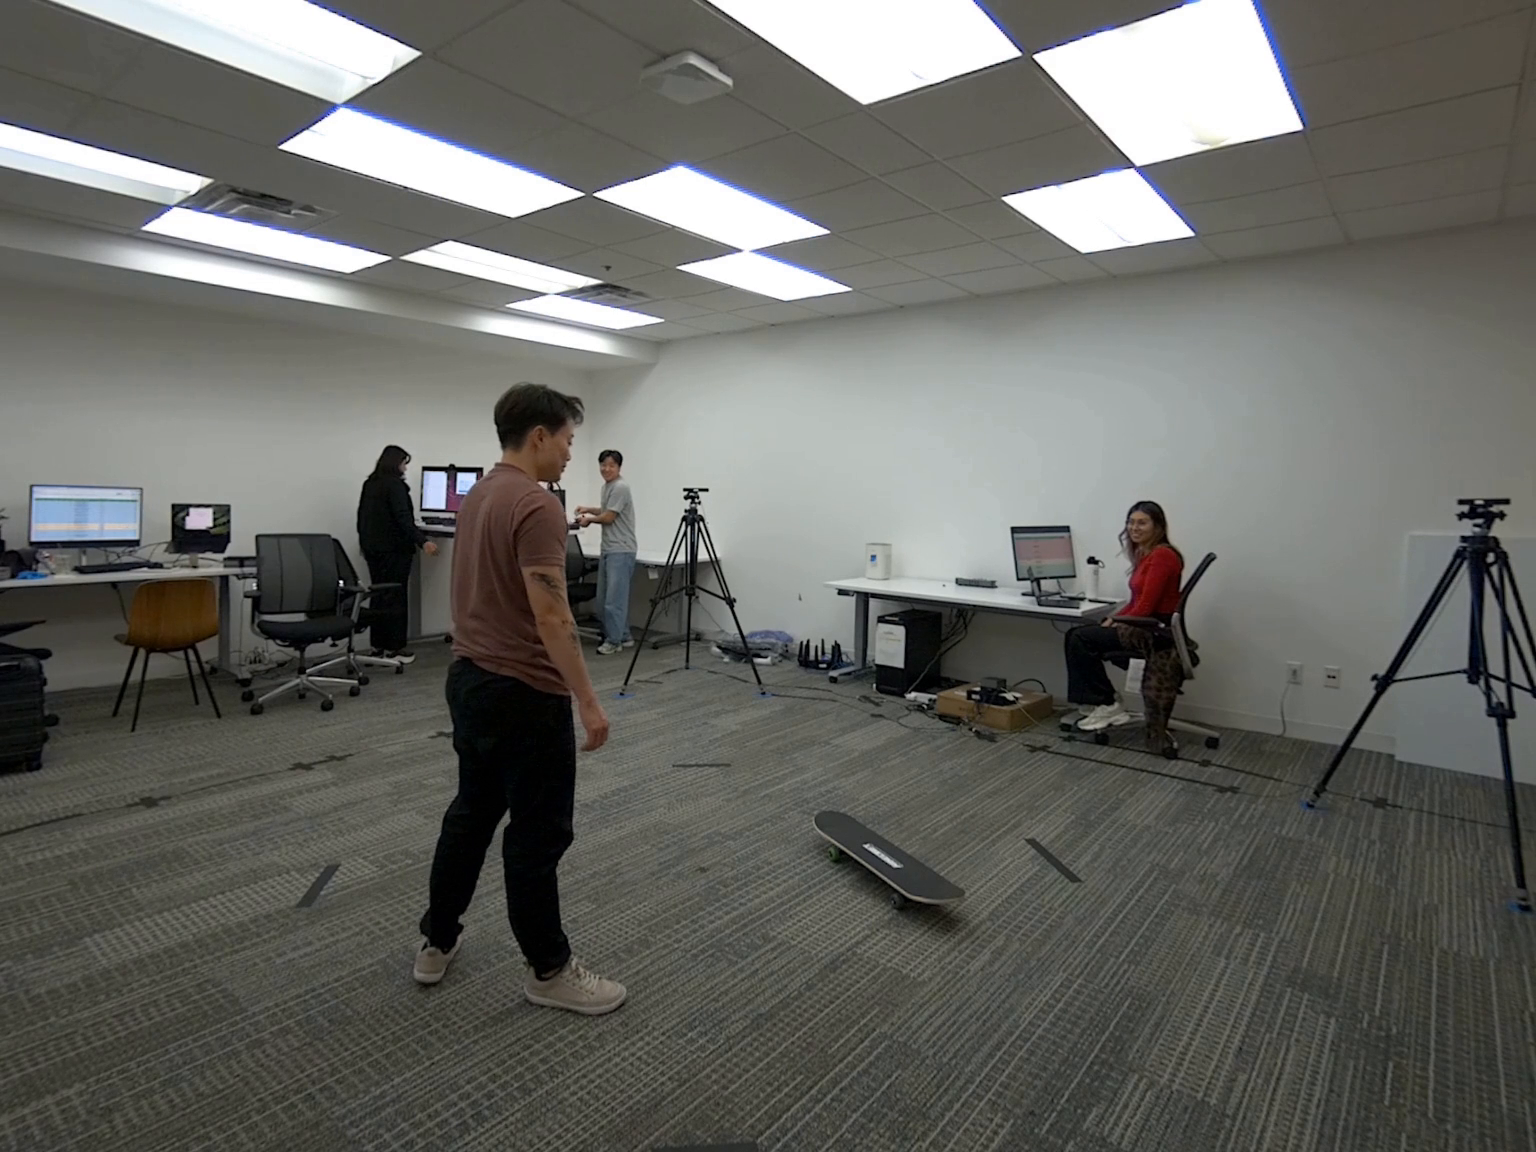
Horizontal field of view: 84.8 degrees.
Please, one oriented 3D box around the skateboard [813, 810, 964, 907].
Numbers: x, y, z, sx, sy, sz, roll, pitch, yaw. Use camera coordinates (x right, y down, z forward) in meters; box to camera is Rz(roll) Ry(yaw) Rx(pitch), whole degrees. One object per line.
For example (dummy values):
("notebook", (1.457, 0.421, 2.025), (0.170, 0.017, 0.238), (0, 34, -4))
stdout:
("skateboard", (0.403, 1.032, 3.056), (0.189, 0.110, 0.808), (-1, 6, -27))
